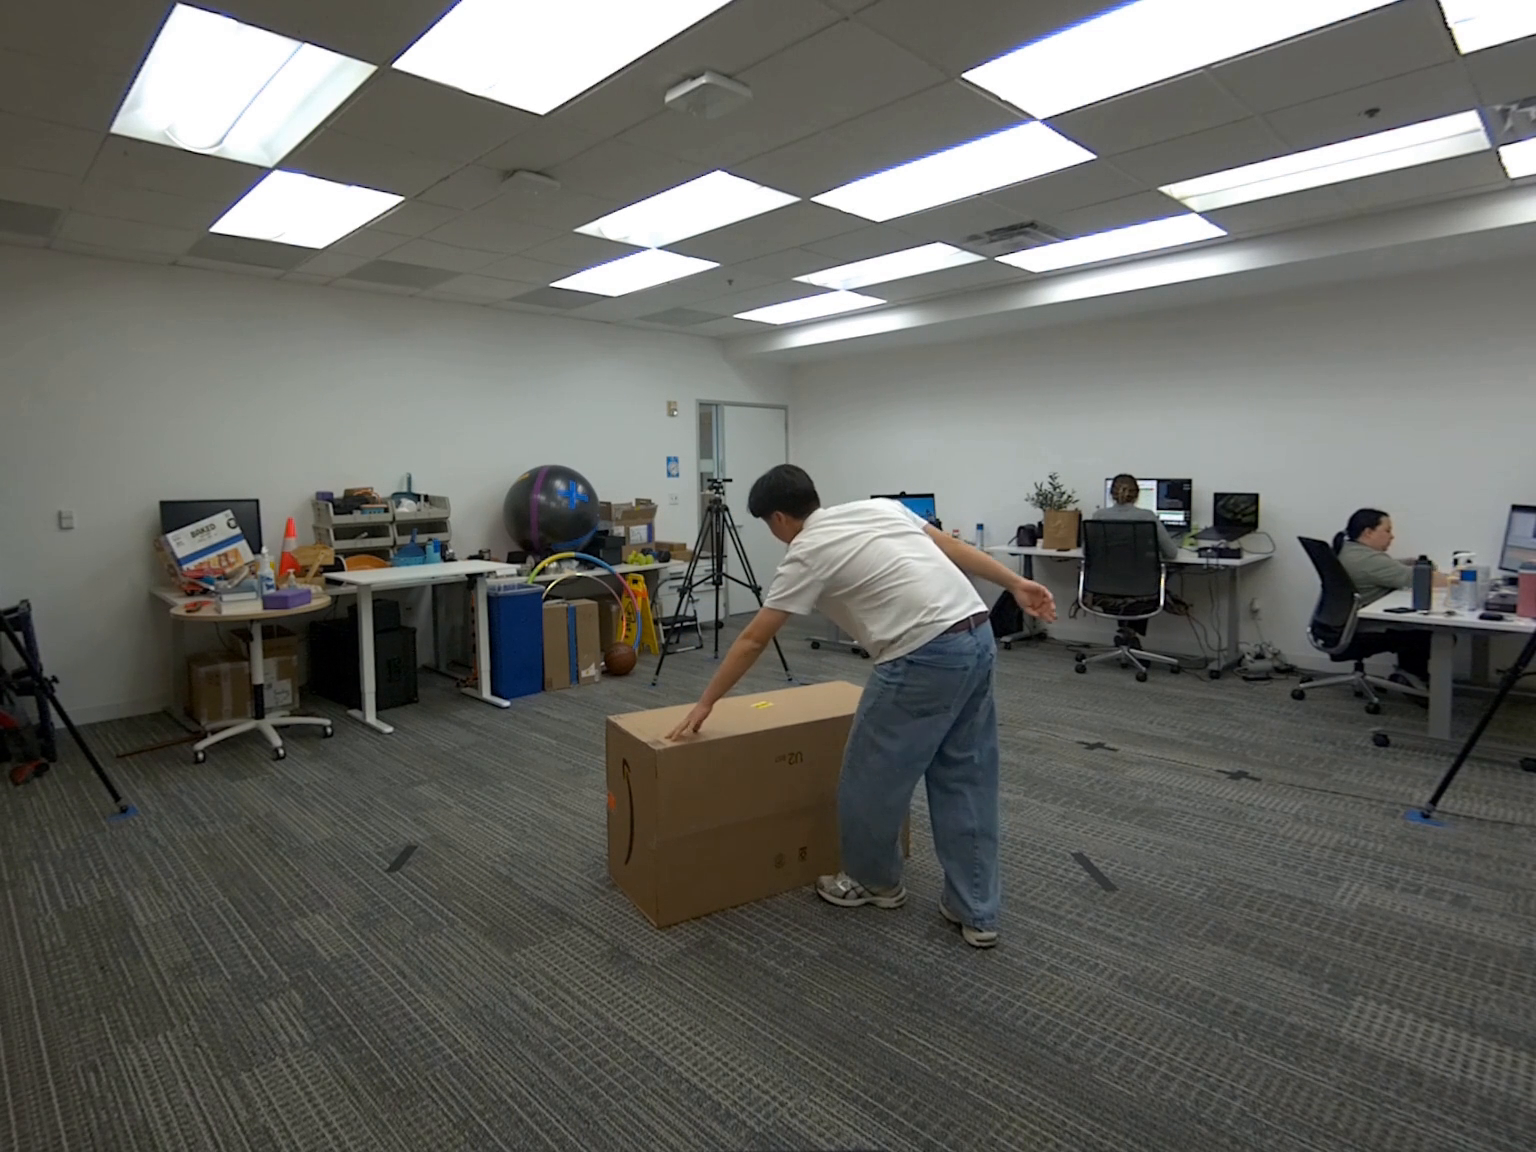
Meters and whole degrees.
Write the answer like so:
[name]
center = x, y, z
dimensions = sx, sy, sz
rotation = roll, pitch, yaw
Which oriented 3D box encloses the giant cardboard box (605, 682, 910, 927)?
[giant cardboard box]
center = -0.026, 0.762, 3.069
dimensions = 1.002, 0.575, 0.438
rotation = -4, 6, -29
